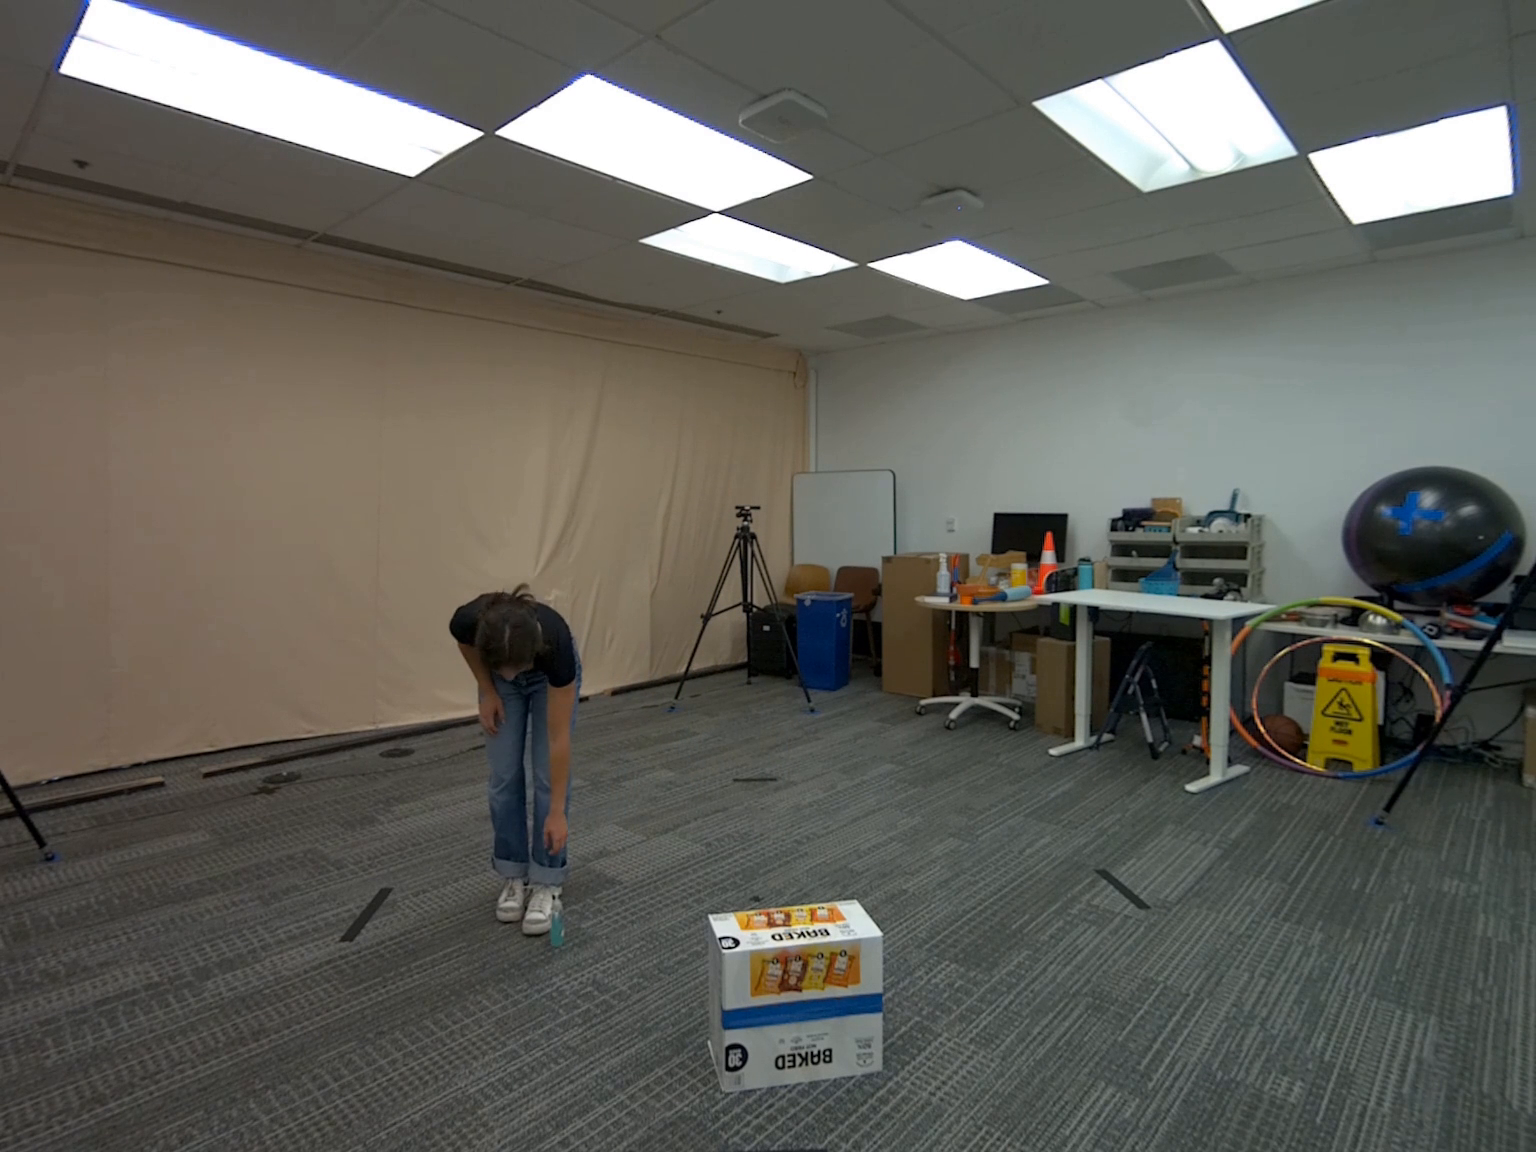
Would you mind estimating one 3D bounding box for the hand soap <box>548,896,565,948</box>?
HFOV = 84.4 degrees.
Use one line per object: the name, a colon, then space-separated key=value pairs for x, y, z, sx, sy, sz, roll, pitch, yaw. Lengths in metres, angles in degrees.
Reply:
hand soap: x=-0.676 y=1.096 z=2.688 sx=0.043 sy=0.168 sz=0.084 roll=0 pitch=3 yaw=0
